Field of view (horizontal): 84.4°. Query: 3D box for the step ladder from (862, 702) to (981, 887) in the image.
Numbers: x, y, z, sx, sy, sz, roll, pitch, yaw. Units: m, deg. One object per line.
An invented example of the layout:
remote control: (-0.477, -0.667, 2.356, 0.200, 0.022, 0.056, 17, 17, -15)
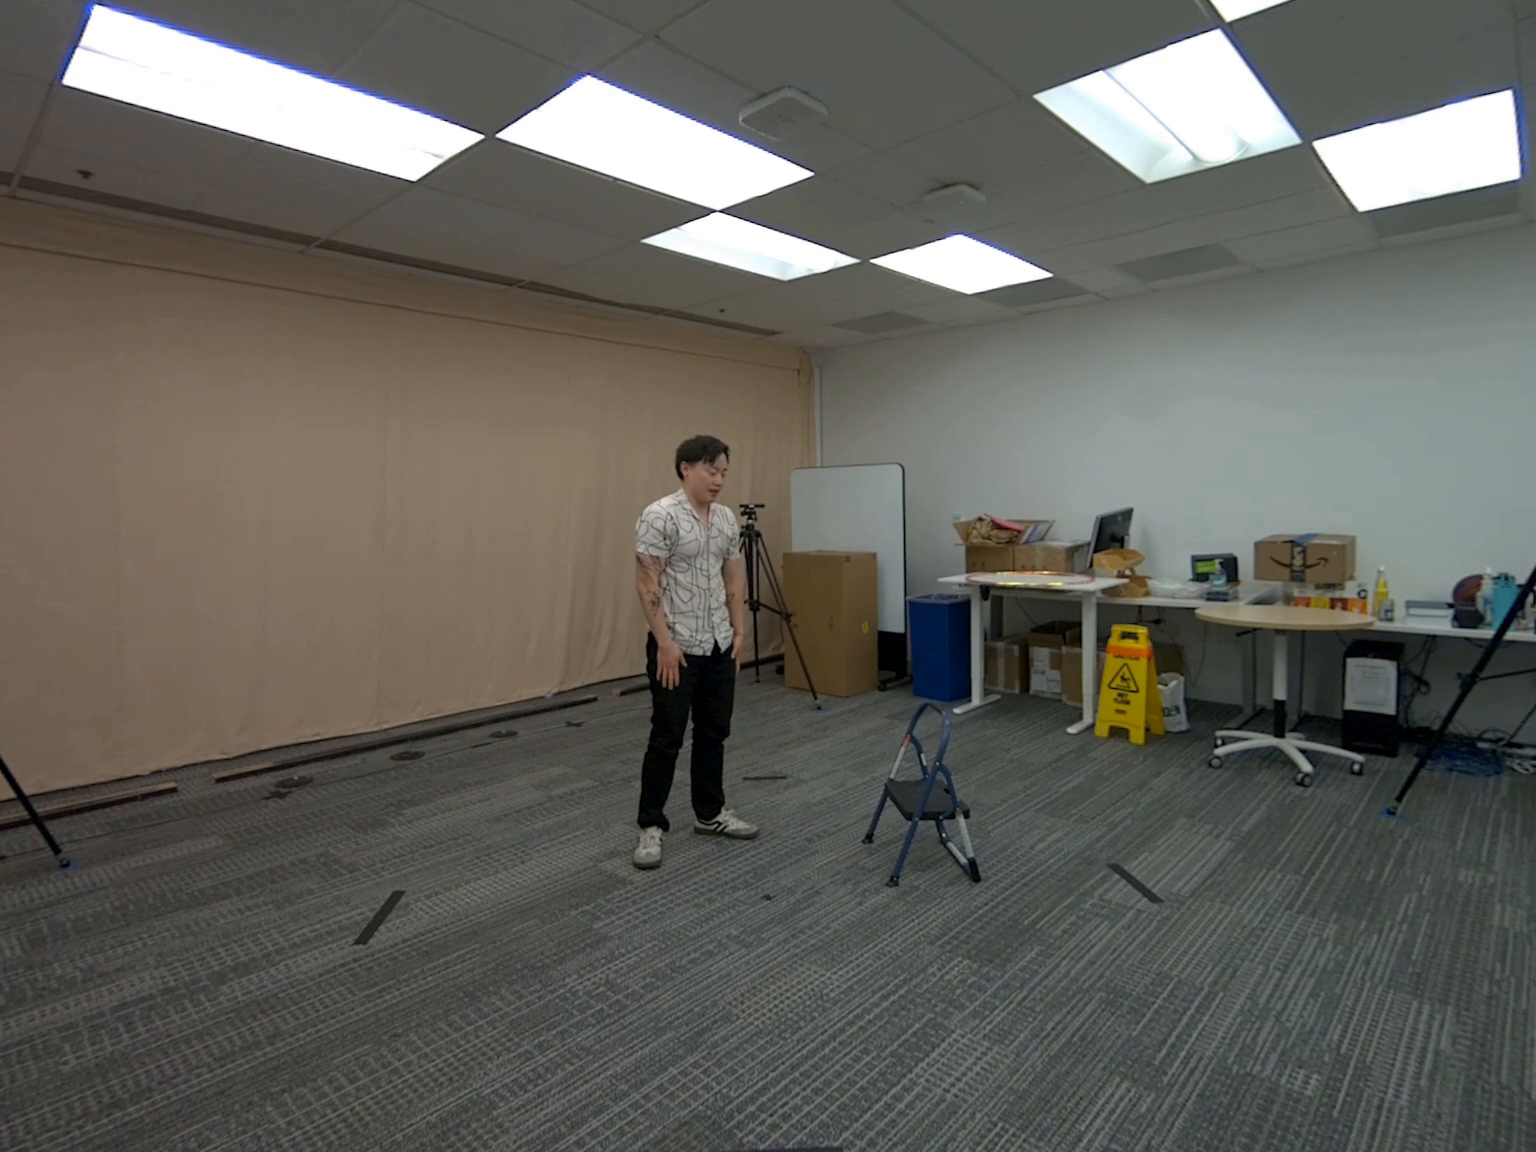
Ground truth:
step ladder: (0.593, 0.805, 3.248, 0.348, 0.605, 0.434, -1, 4, -5)
